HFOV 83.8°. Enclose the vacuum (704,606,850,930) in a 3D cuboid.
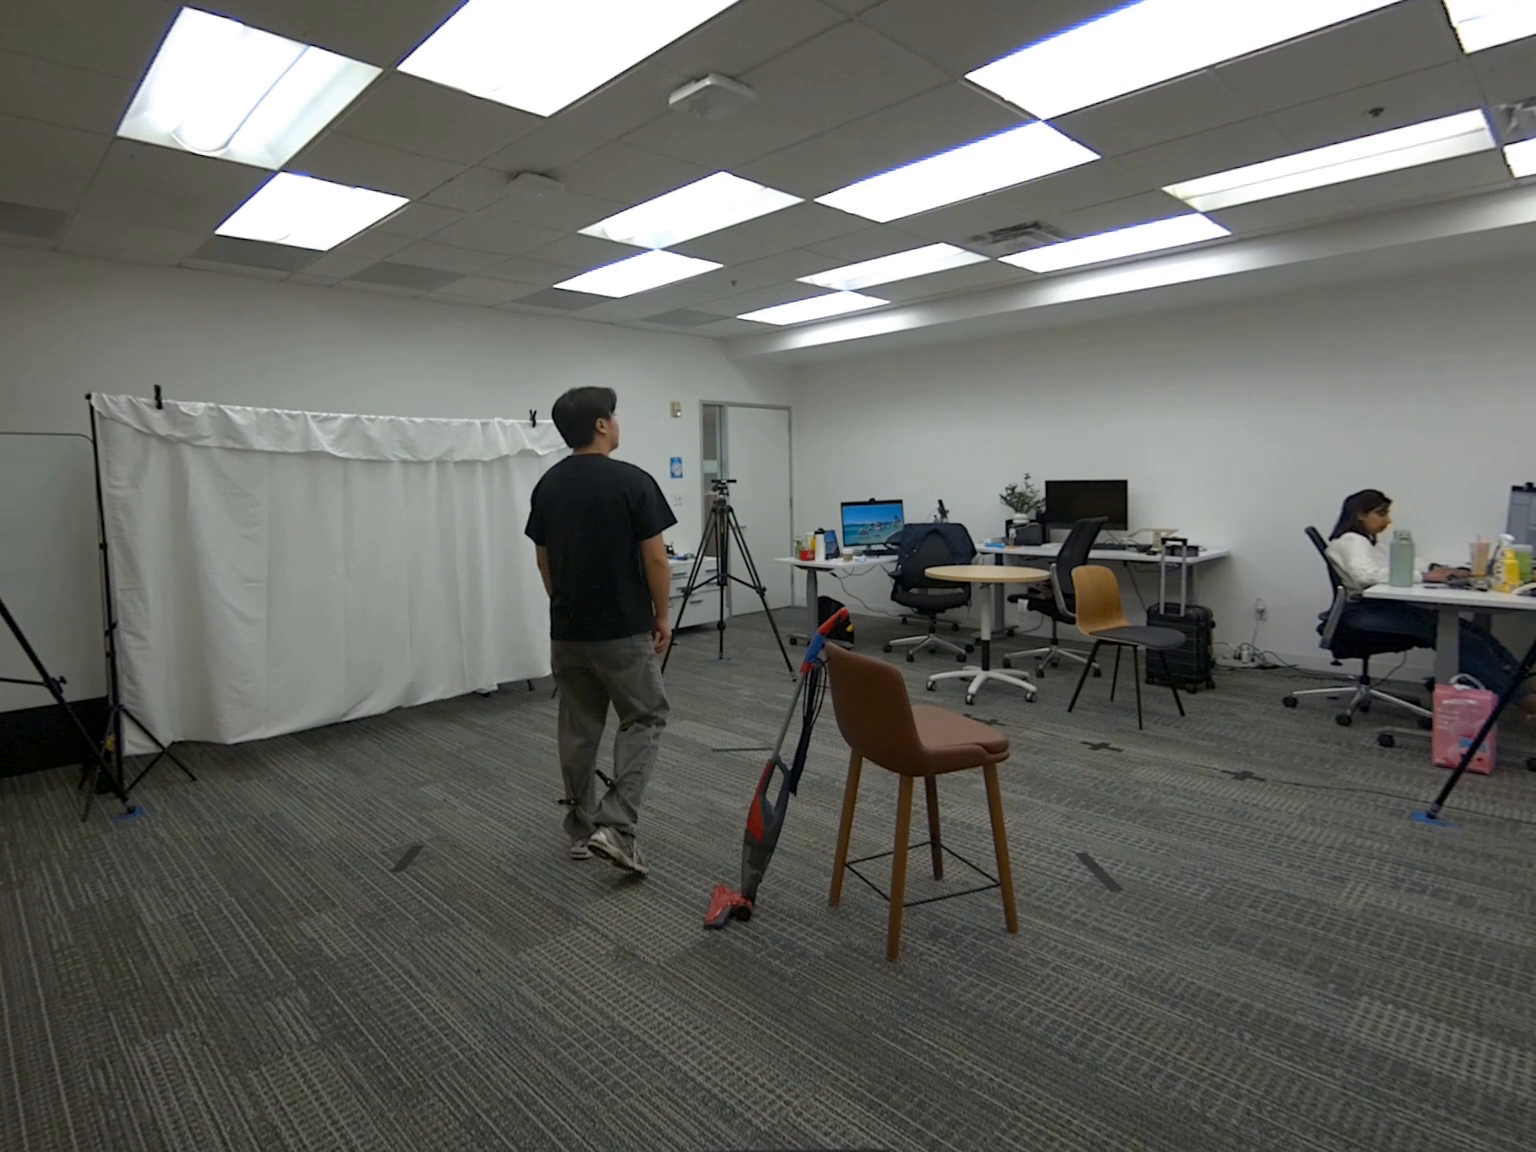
[{"bbox_3d":[0.064,0.594,2.710,0.144,1.045,0.253,19,7,-1],"label":"vacuum"}]
